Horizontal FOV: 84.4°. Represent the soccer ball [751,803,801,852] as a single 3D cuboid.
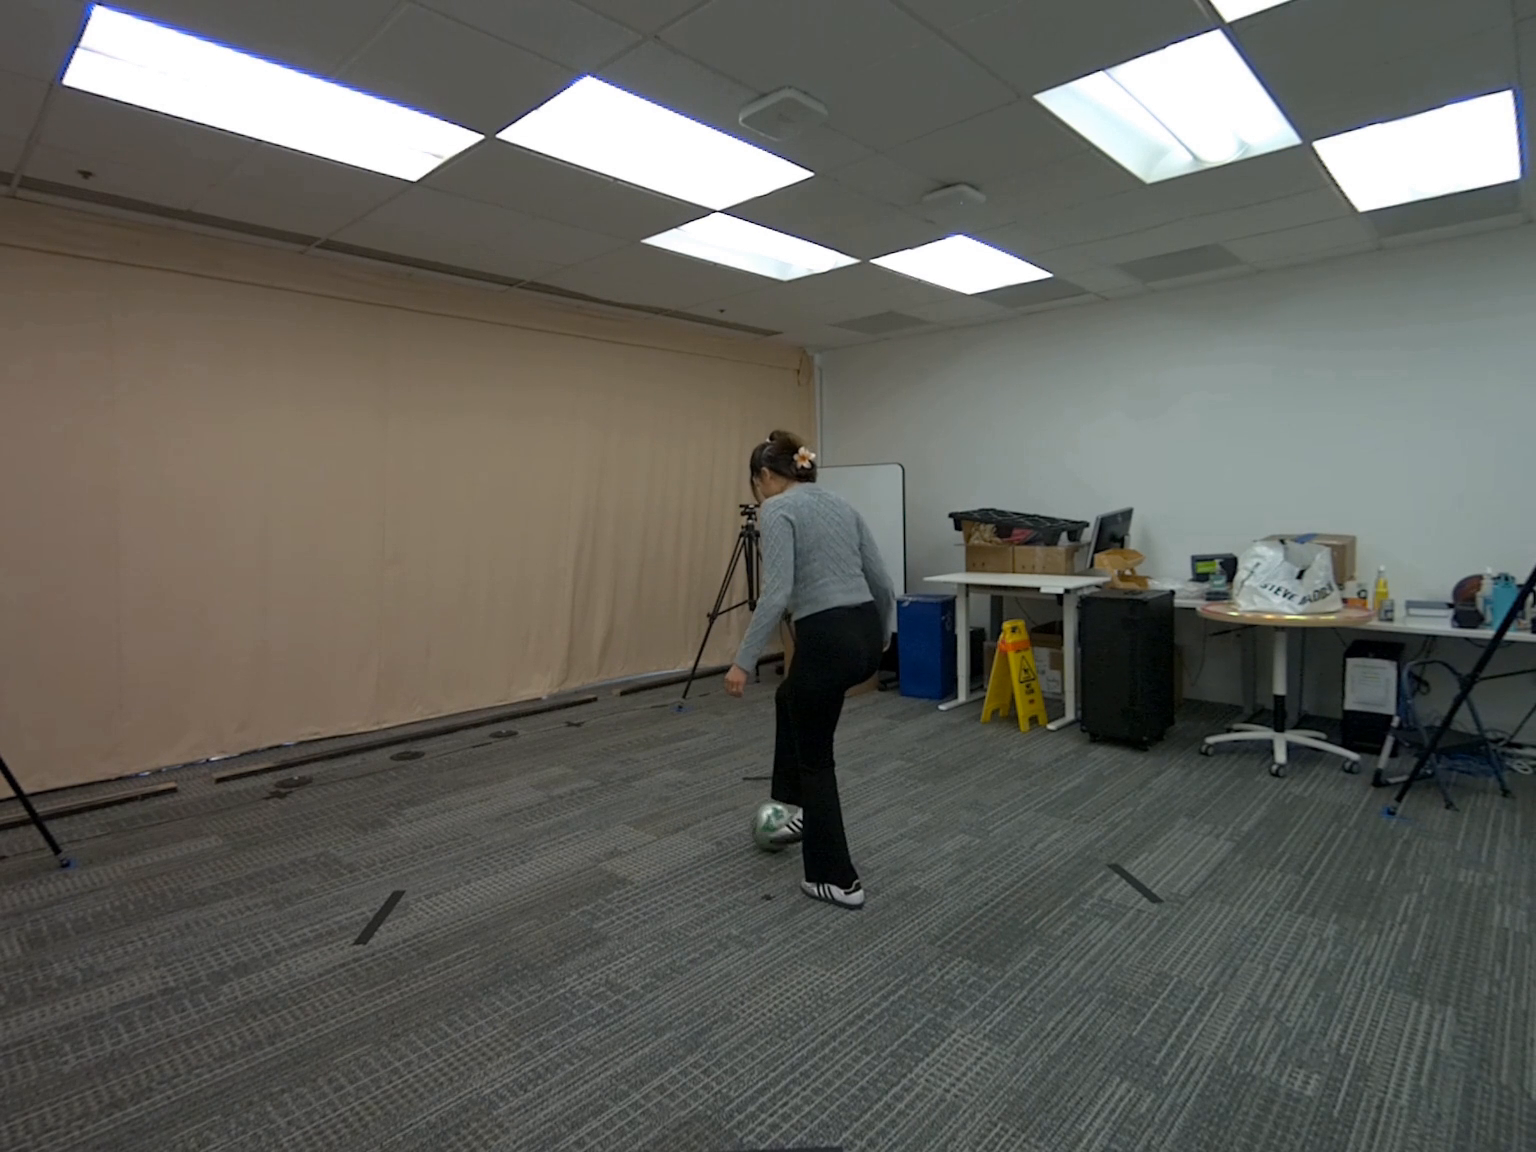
[{"bbox_3d":[0.021,1.006,3.394,0.187,0.187,0.188,-1,4,-2],"label":"soccer ball"}]
